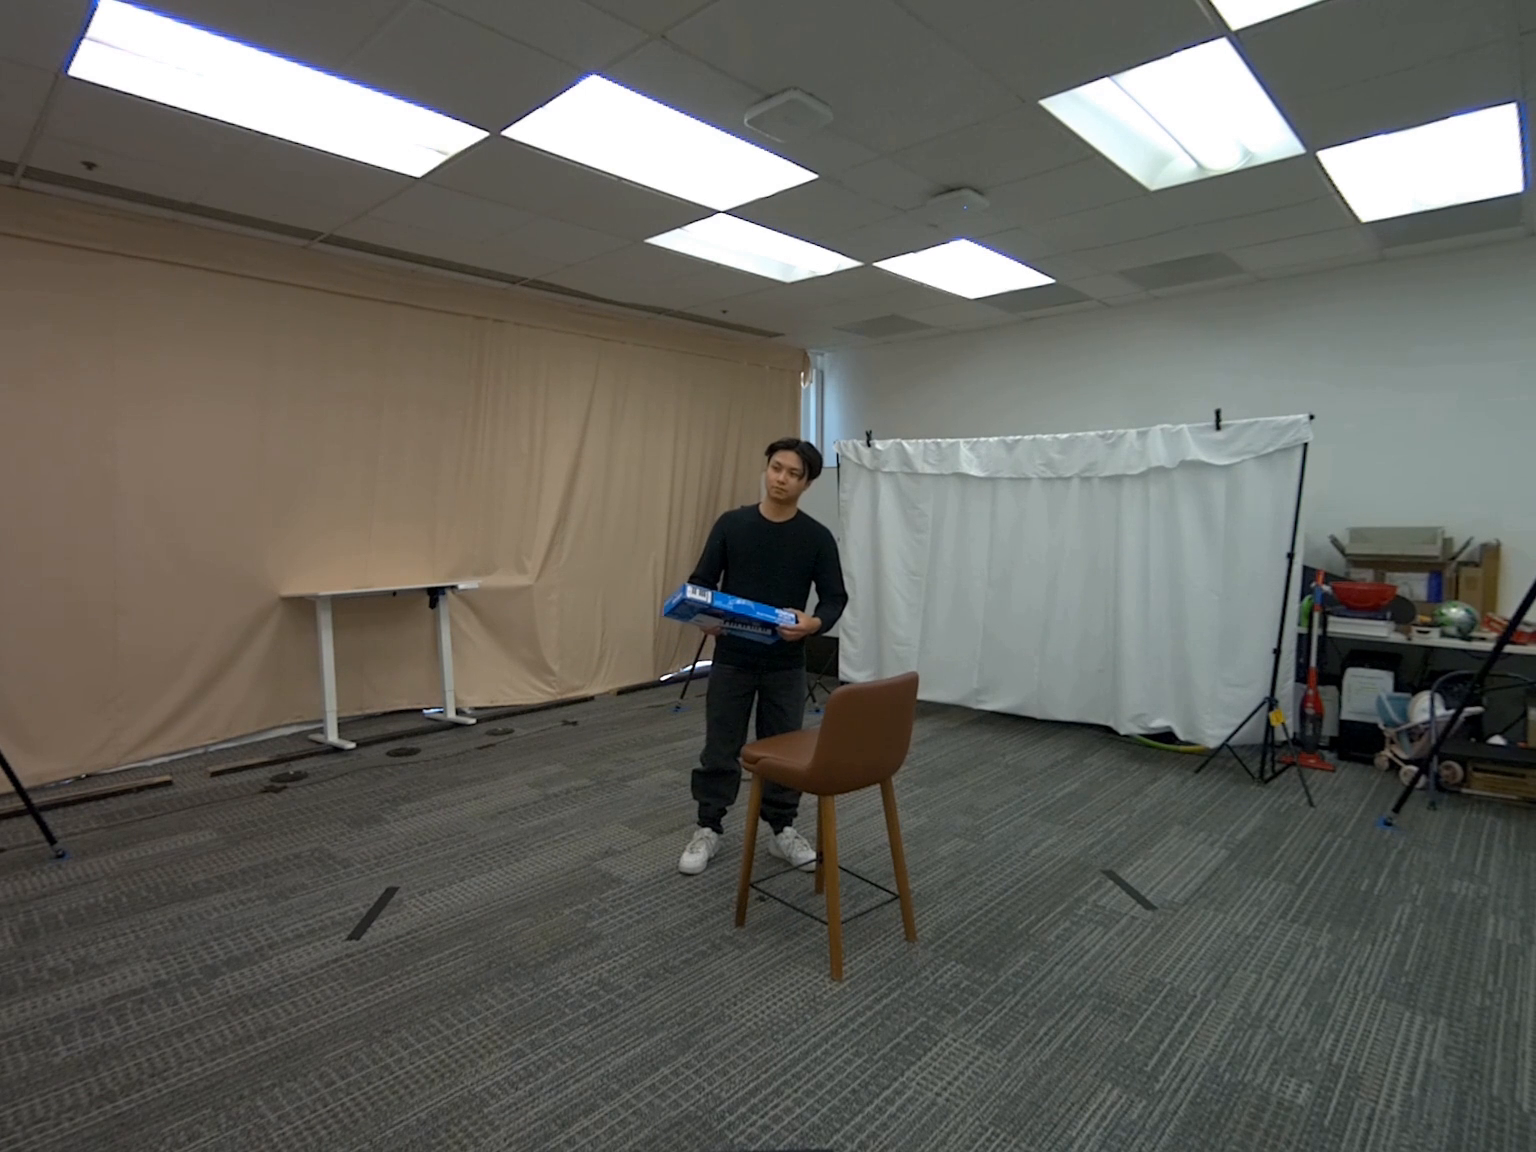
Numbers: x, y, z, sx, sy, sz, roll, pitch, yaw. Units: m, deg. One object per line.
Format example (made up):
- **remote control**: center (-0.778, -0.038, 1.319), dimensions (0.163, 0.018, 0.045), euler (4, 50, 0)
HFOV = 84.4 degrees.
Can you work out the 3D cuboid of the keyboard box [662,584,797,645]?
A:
- **keyboard box**: center (-0.132, 0.135, 2.947), dimensions (0.426, 0.060, 0.178), euler (15, -31, -23)
